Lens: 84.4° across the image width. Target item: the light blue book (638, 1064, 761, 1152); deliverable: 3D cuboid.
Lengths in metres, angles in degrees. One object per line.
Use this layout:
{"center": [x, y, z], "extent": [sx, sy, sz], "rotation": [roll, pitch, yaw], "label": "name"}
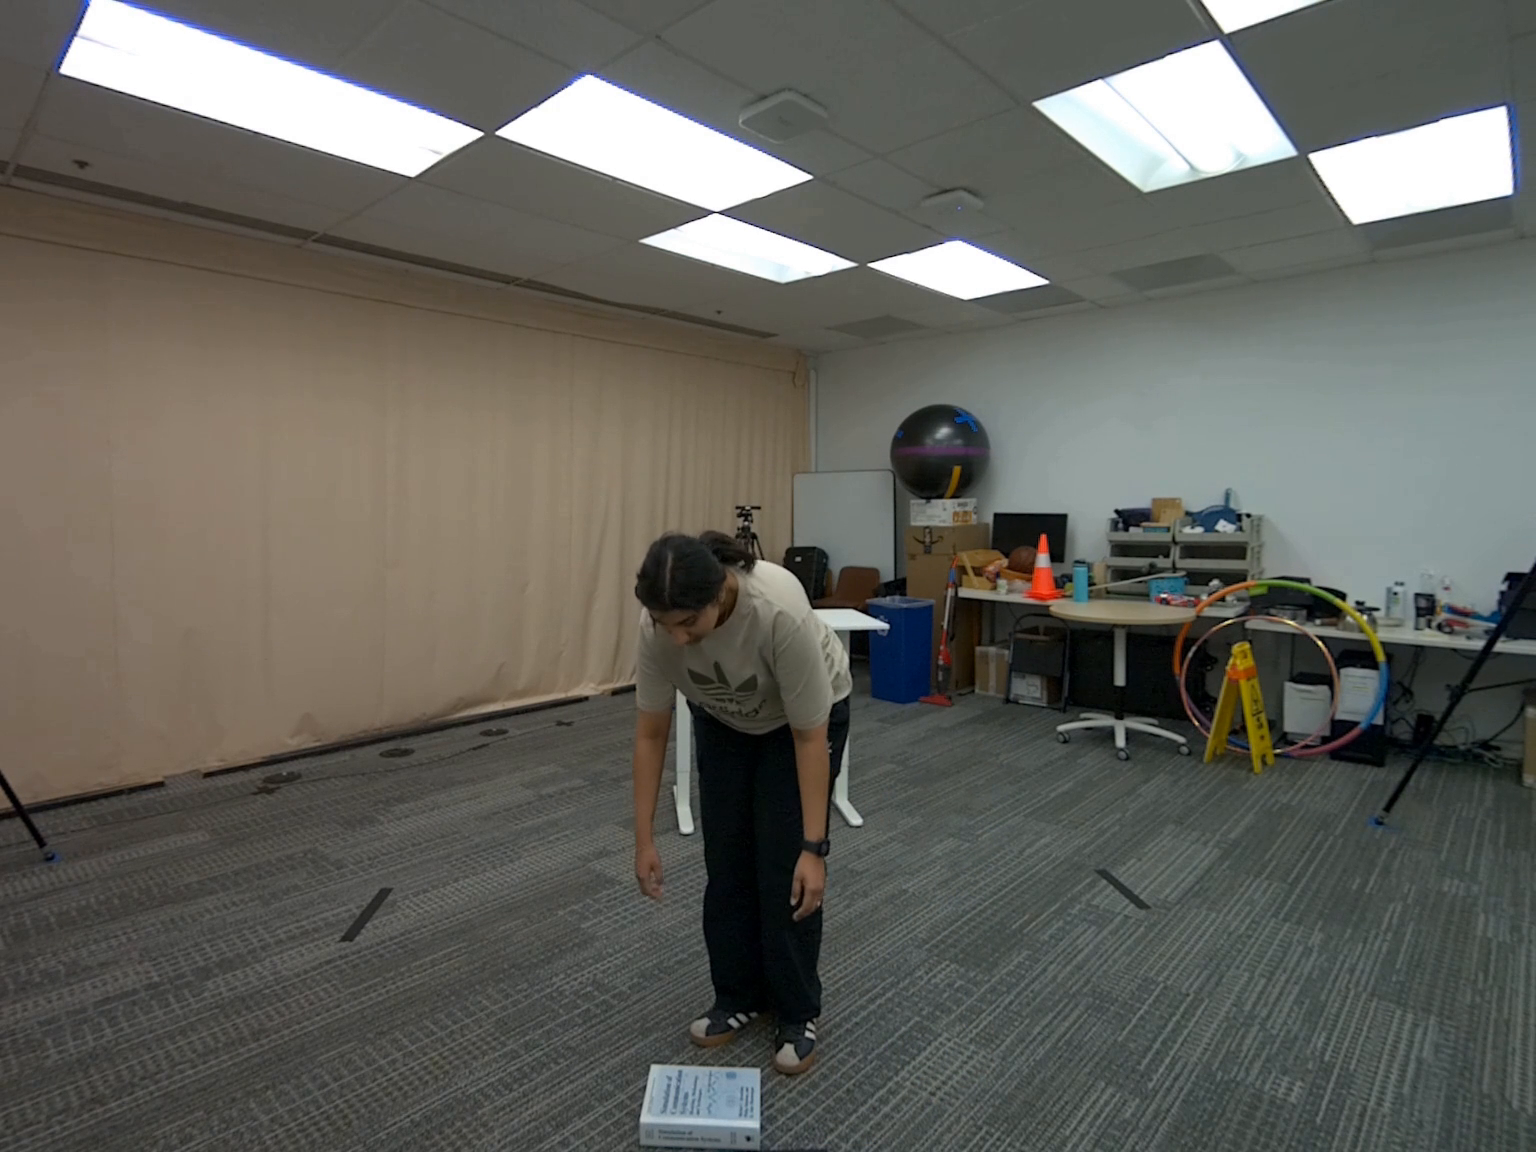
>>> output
{"center": [-0.146, 1.203, 1.923], "extent": [0.262, 0.059, 0.191], "rotation": [1, 5, 2], "label": "light blue book"}
